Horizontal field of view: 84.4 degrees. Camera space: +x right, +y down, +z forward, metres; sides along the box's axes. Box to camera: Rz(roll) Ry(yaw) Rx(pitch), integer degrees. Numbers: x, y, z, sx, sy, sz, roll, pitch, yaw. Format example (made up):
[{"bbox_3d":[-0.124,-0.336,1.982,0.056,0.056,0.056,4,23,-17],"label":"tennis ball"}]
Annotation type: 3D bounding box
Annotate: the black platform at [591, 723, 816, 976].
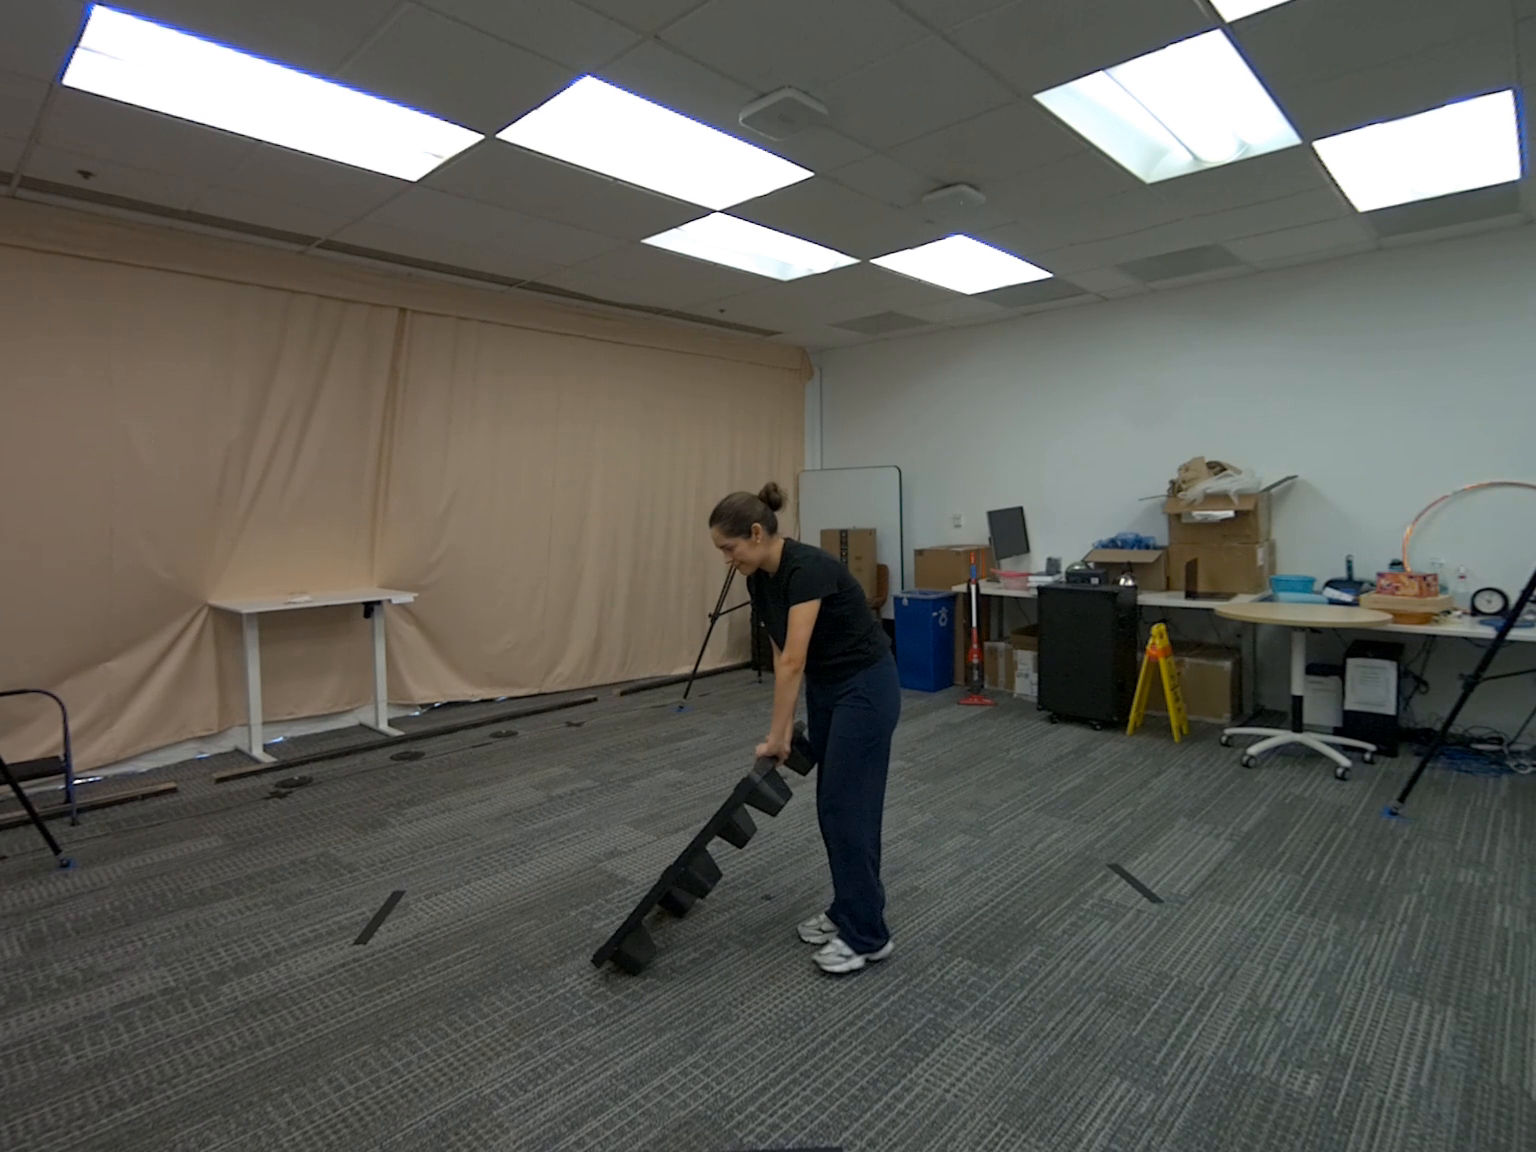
[{"bbox_3d":[-0.144,0.852,2.642,0.145,0.807,0.595,41,14,10],"label":"black platform"}]
